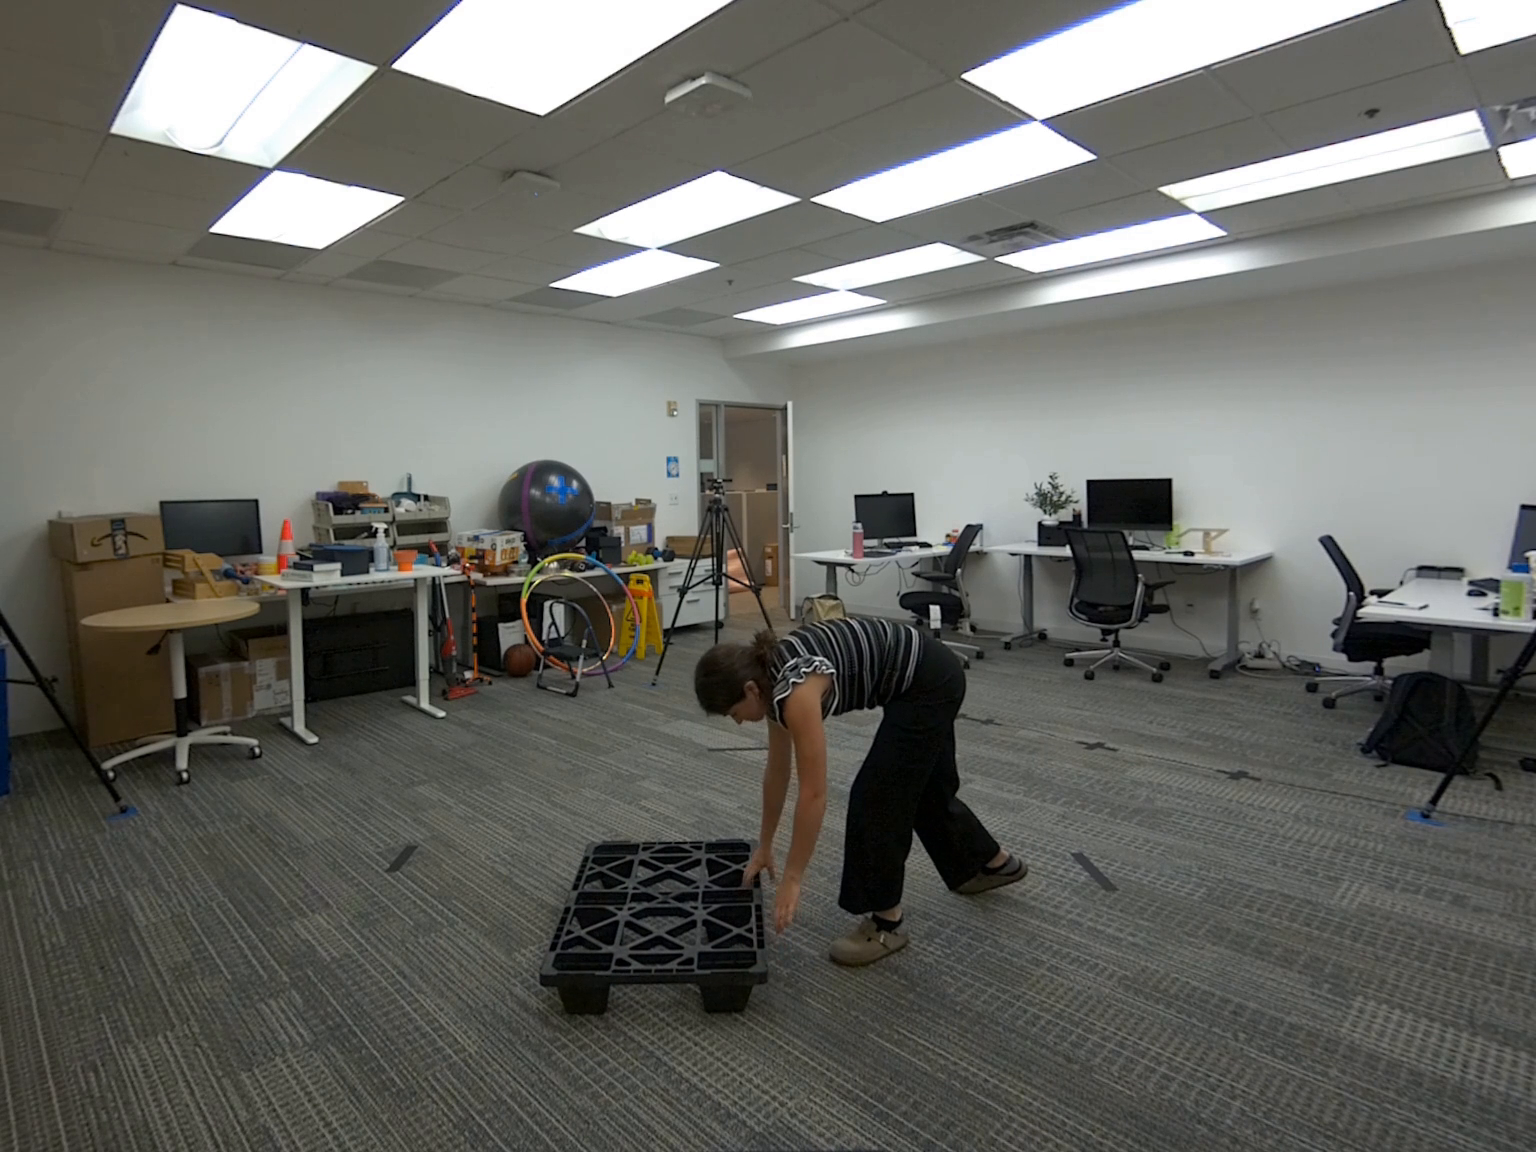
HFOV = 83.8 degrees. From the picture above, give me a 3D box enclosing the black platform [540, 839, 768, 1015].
[{"bbox_3d":[-0.310,1.041,2.602,0.605,0.142,0.810,-2,6,-1],"label":"black platform"}]
